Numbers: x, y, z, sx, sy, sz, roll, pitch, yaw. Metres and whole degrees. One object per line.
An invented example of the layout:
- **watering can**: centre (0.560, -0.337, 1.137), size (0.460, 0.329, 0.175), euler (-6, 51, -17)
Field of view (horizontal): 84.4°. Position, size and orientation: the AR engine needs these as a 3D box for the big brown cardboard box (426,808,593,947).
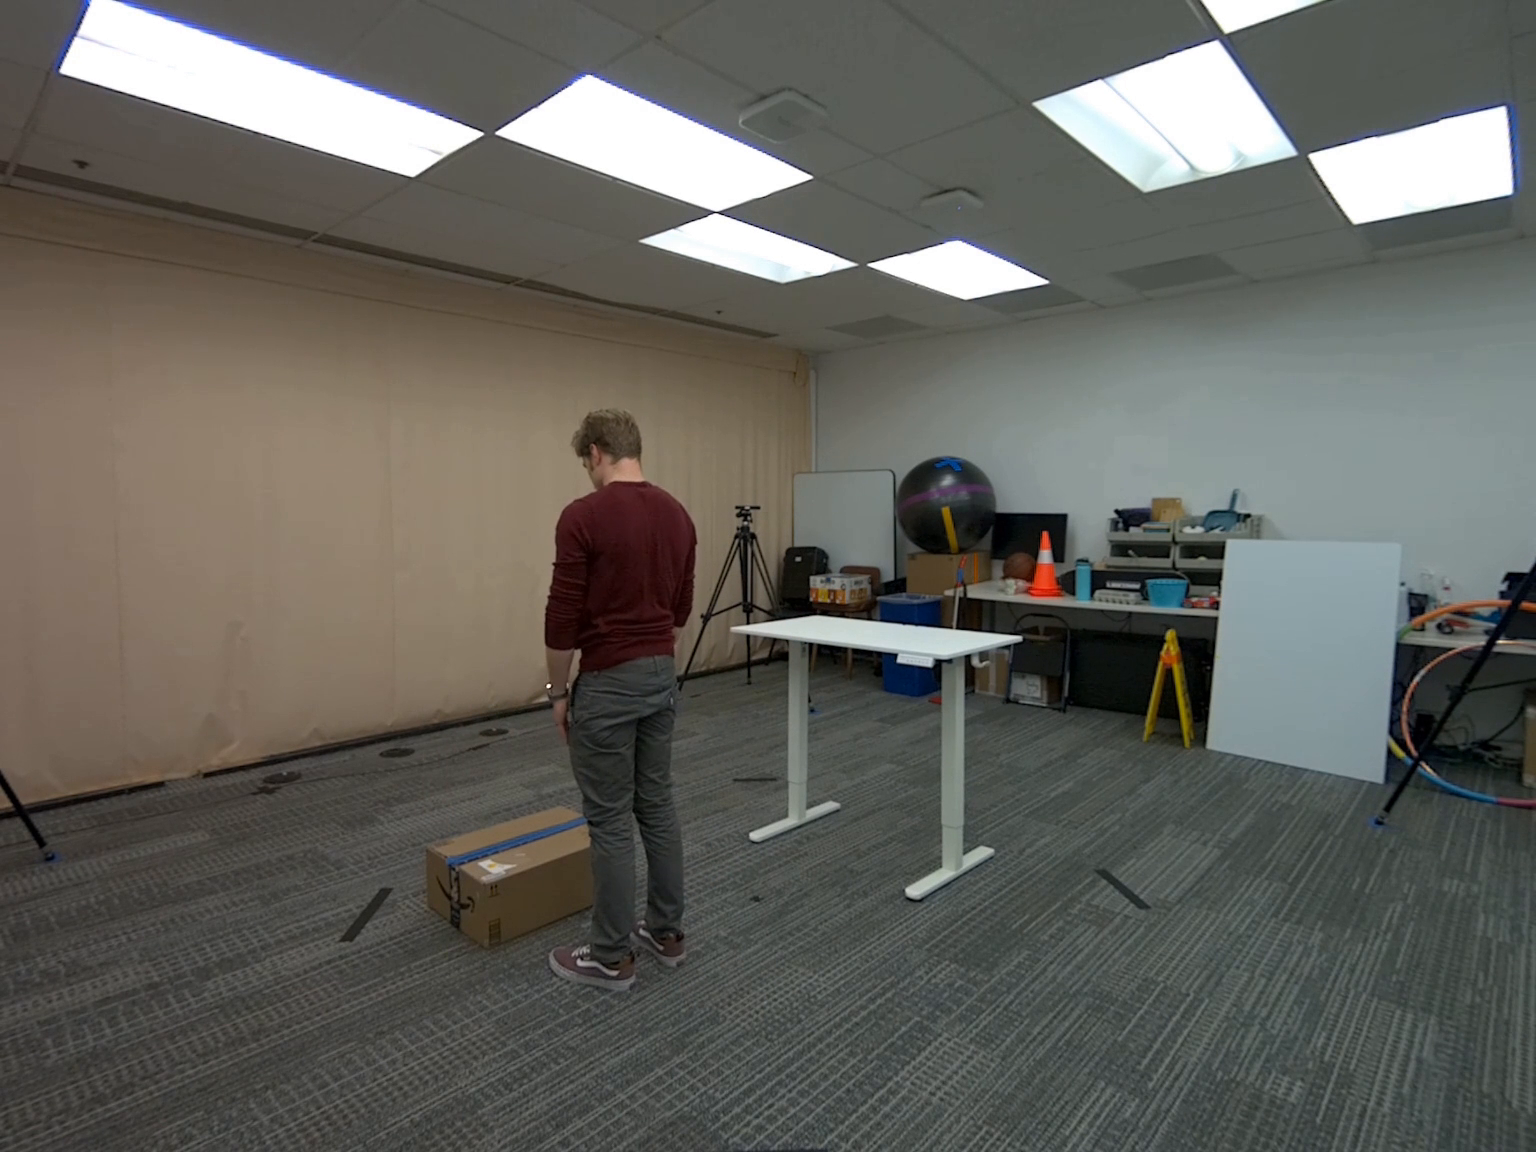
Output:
- **big brown cardboard box**: centre (-0.858, 1.043, 2.980), size (0.431, 0.233, 0.571), euler (3, 5, 43)
